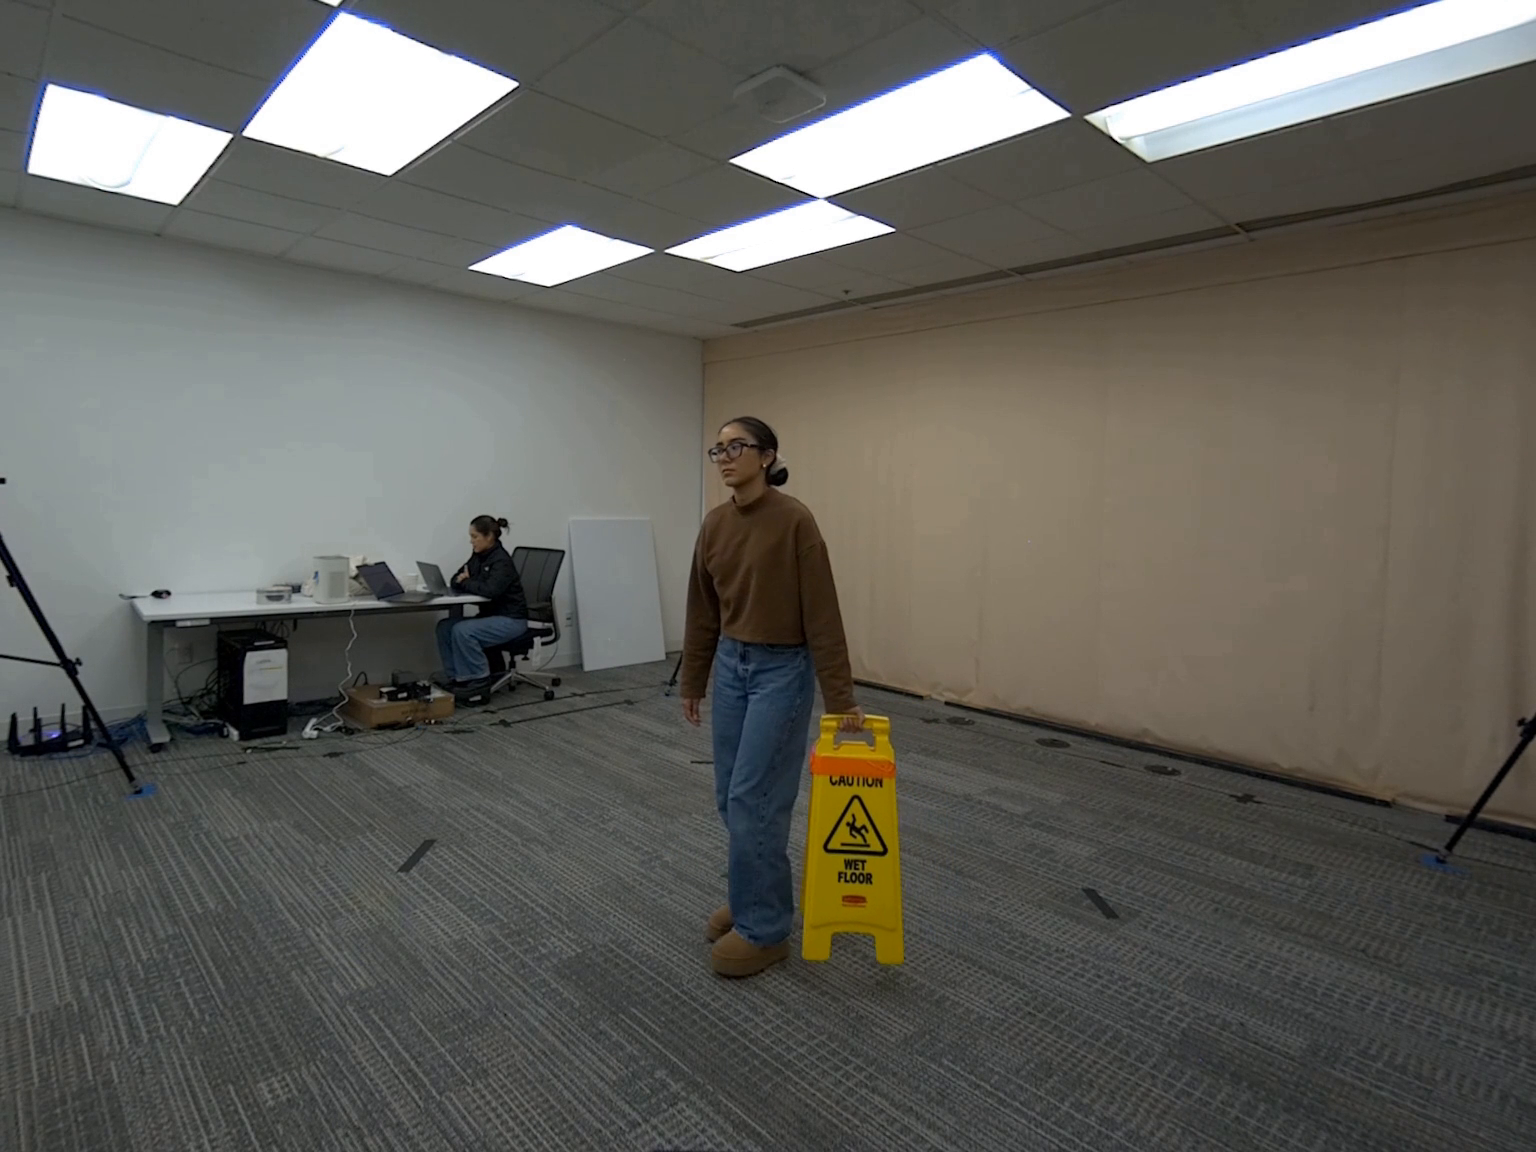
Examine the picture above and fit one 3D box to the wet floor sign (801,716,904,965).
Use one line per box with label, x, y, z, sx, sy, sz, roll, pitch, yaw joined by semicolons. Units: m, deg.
wet floor sign;0.236;0.727;2.420;0.282;0.646;0.290;2;1;-1
